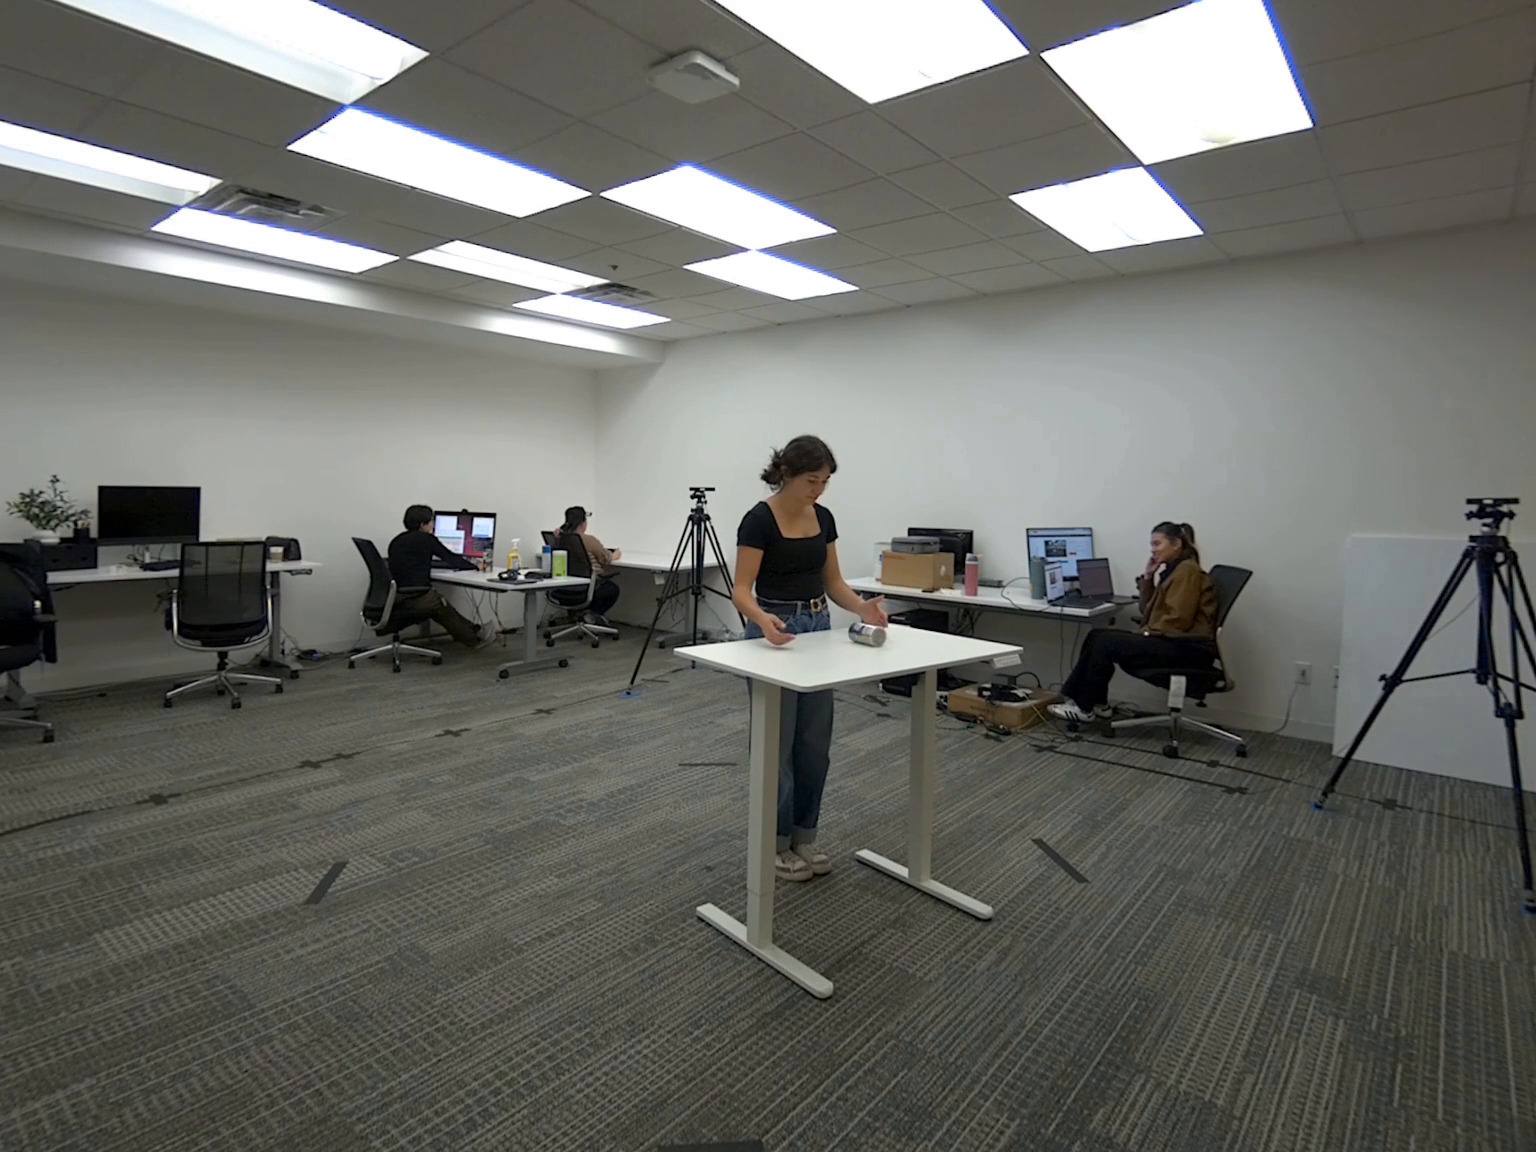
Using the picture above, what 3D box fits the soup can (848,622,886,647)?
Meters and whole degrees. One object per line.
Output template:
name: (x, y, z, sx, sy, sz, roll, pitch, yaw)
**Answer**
soup can: (0.330, 0.192, 2.826, 0.065, 0.067, 0.125, -1, 5, -25)
